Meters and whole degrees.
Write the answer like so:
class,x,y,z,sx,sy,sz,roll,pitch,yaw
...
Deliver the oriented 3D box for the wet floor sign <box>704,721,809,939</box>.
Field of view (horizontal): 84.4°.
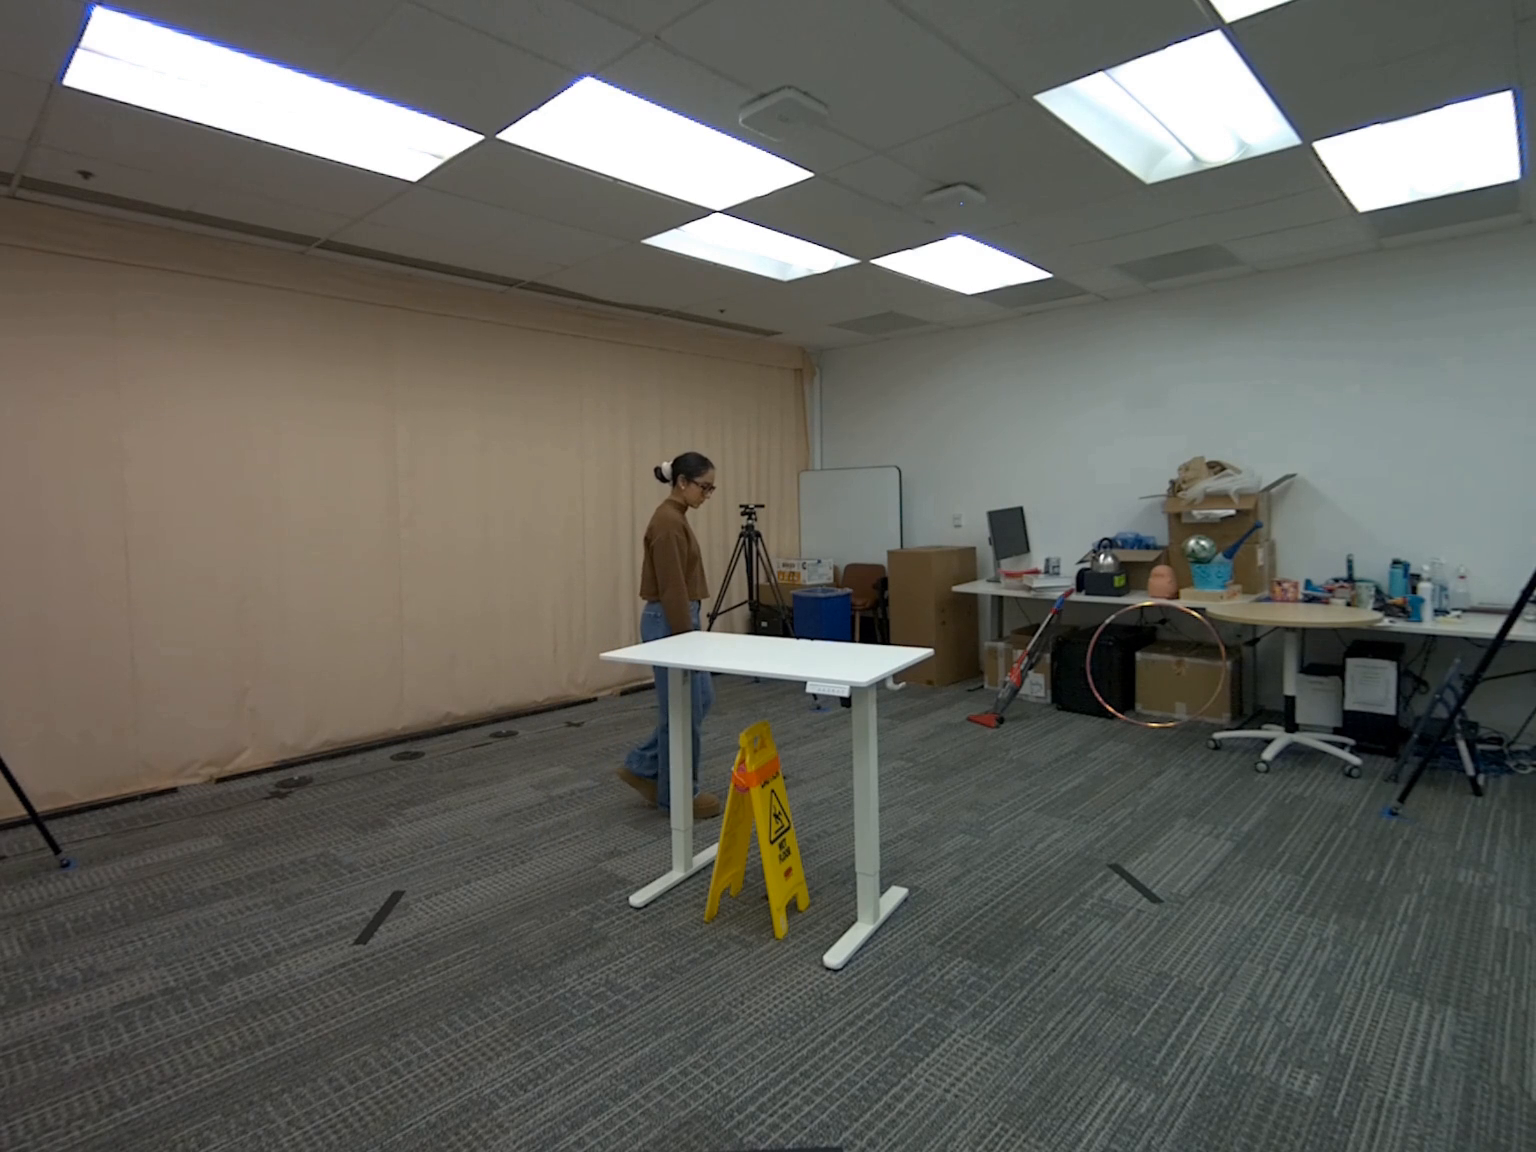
class,x,y,z,sx,sy,sz,roll,pitch,yaw
wet floor sign,-0.040,0.828,2.853,0.297,0.645,0.276,0,3,25
